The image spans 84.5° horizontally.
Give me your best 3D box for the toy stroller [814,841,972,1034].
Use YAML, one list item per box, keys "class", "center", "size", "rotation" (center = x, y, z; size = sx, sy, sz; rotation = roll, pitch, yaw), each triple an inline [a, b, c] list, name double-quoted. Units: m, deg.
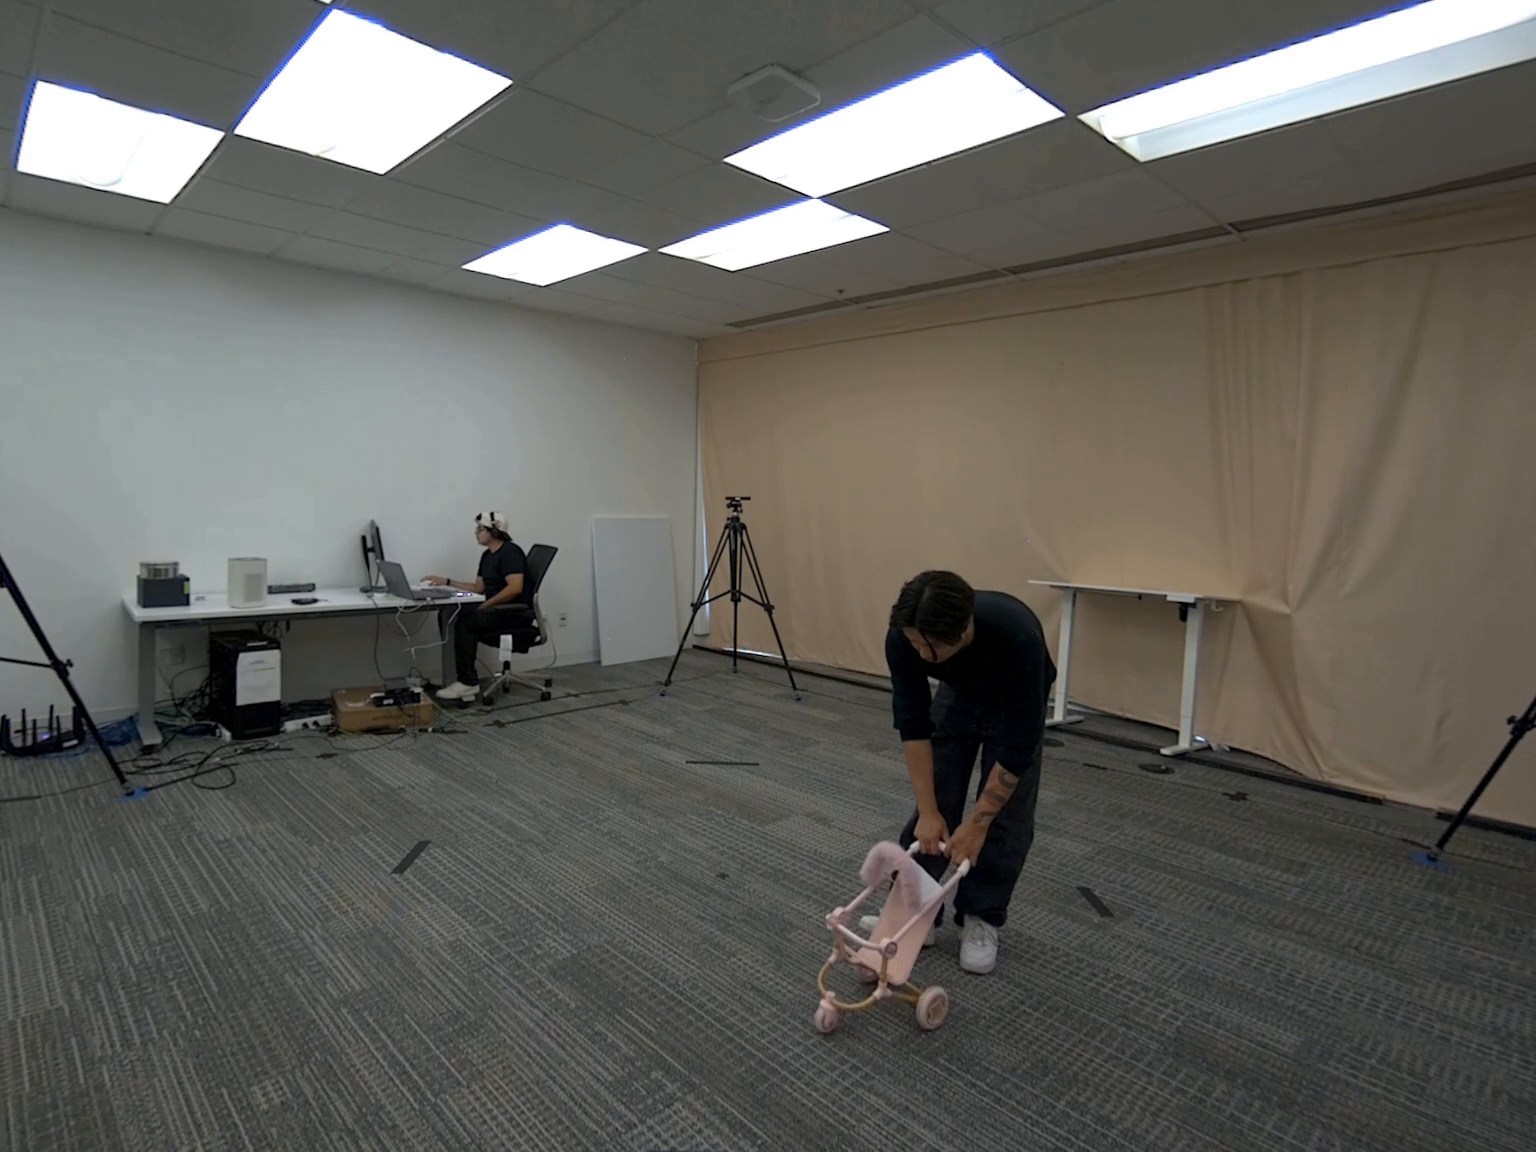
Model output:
- class: "toy stroller"
  center: [0.317, 0.973, 2.295]
  size: [0.333, 0.536, 0.288]
  rotation: [20, -6, -29]
